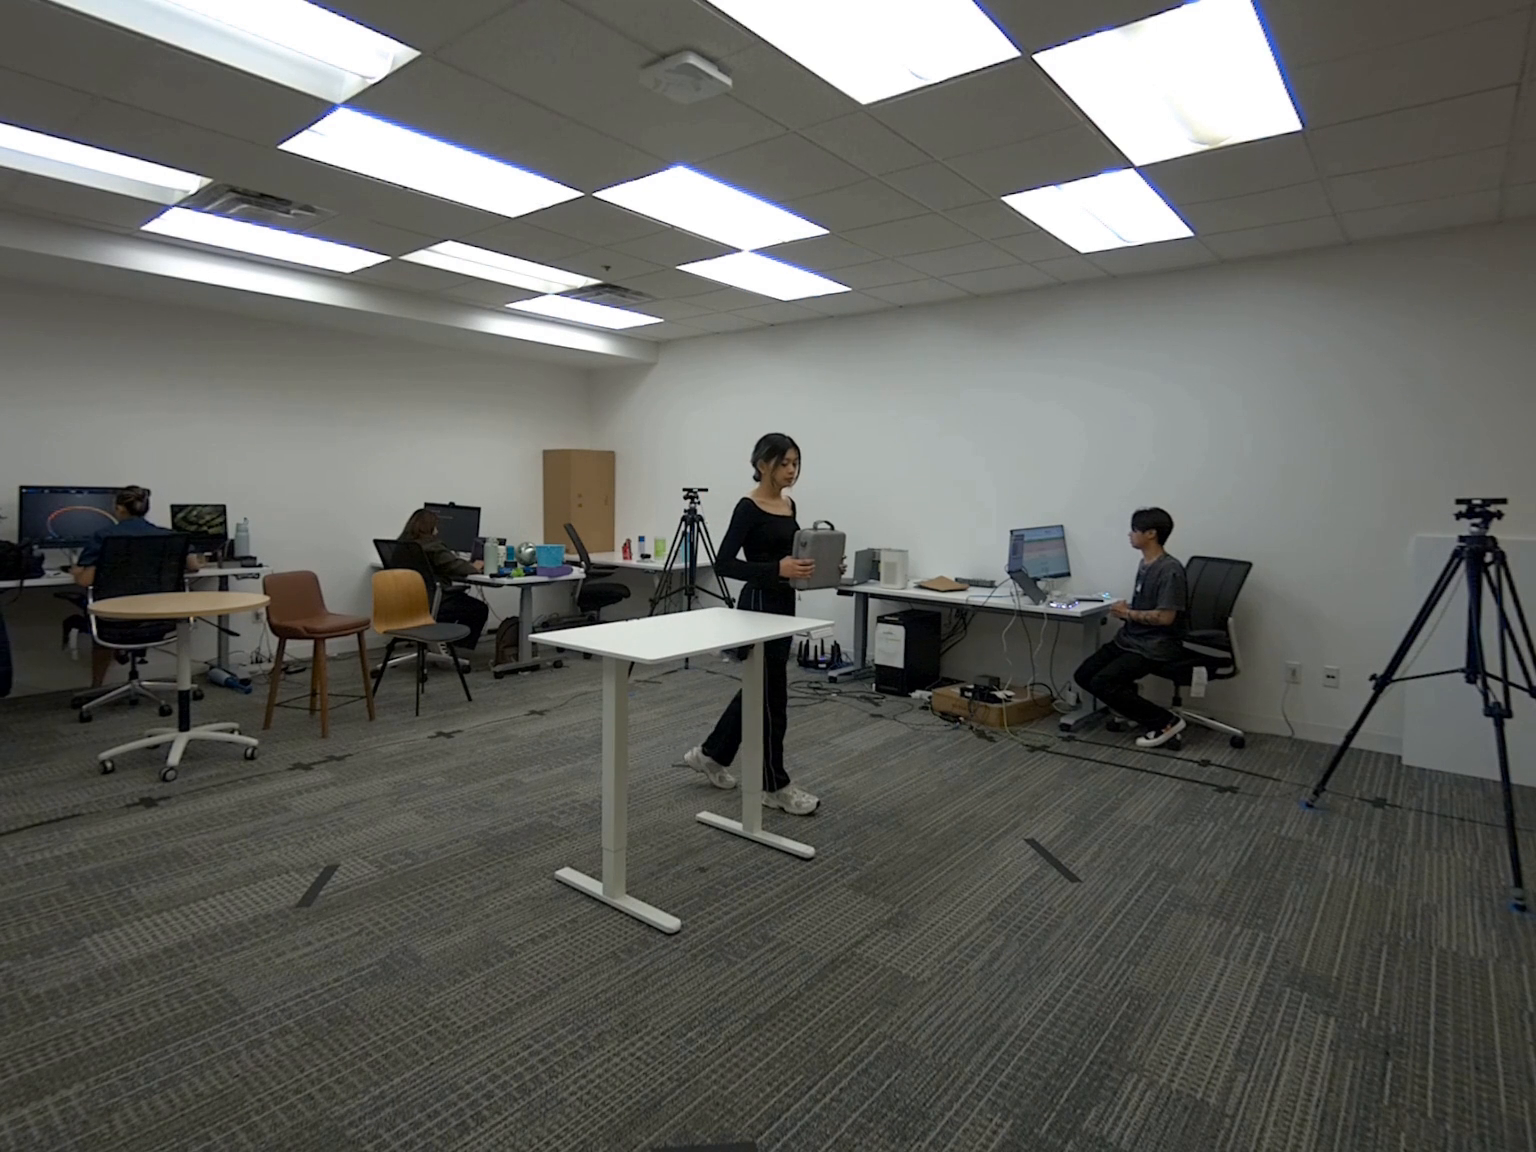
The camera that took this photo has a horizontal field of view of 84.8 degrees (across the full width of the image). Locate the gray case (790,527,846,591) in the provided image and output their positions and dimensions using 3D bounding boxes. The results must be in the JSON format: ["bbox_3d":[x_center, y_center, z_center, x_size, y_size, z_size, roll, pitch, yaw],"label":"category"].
[{"bbox_3d":[0.206,-0.079,3.603,0.108,0.259,0.249,12,10,43],"label":"gray case"}]
